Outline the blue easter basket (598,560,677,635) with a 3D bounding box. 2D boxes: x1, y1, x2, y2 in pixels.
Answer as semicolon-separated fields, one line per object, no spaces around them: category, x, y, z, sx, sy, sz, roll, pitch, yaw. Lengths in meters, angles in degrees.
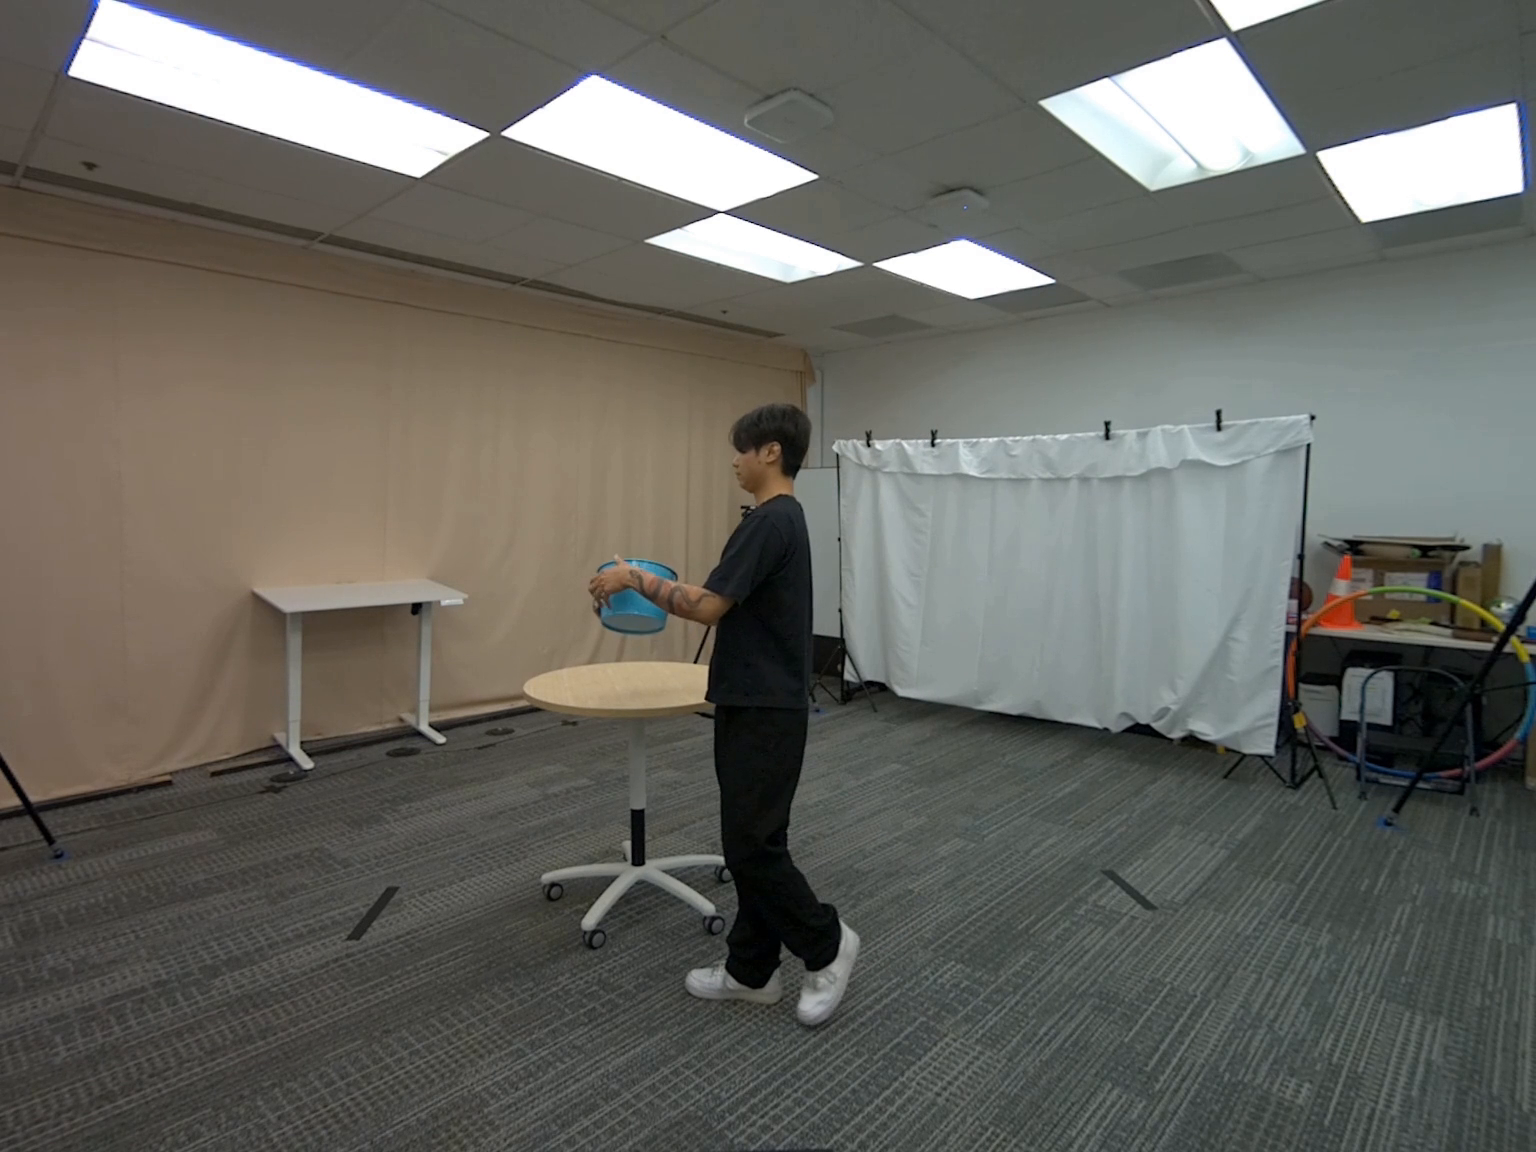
blue easter basket;-0.368;0.074;2.403;0.244;0.158;0.240;3;-23;-1
